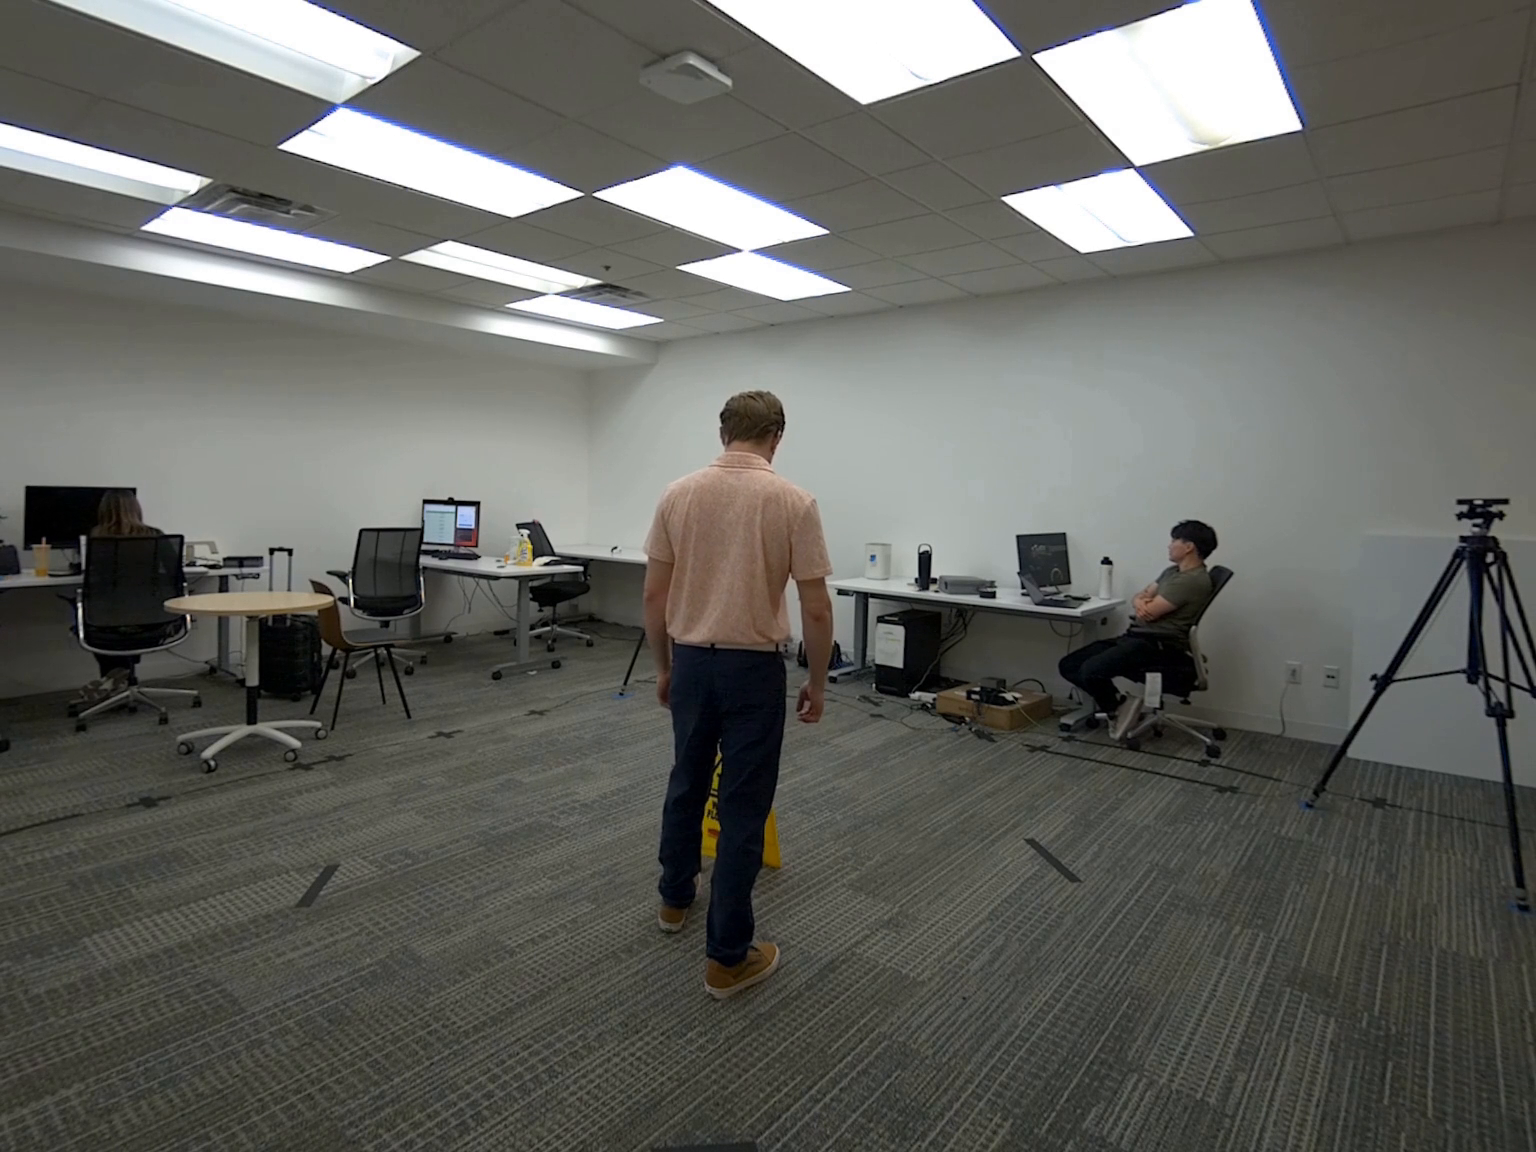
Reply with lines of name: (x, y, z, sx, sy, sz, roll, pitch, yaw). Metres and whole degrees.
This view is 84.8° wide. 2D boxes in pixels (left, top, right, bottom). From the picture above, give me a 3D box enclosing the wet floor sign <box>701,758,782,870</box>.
wet floor sign: (-0.135, 0.739, 3.106, 0.291, 0.645, 0.281, 4, 3, 36)
